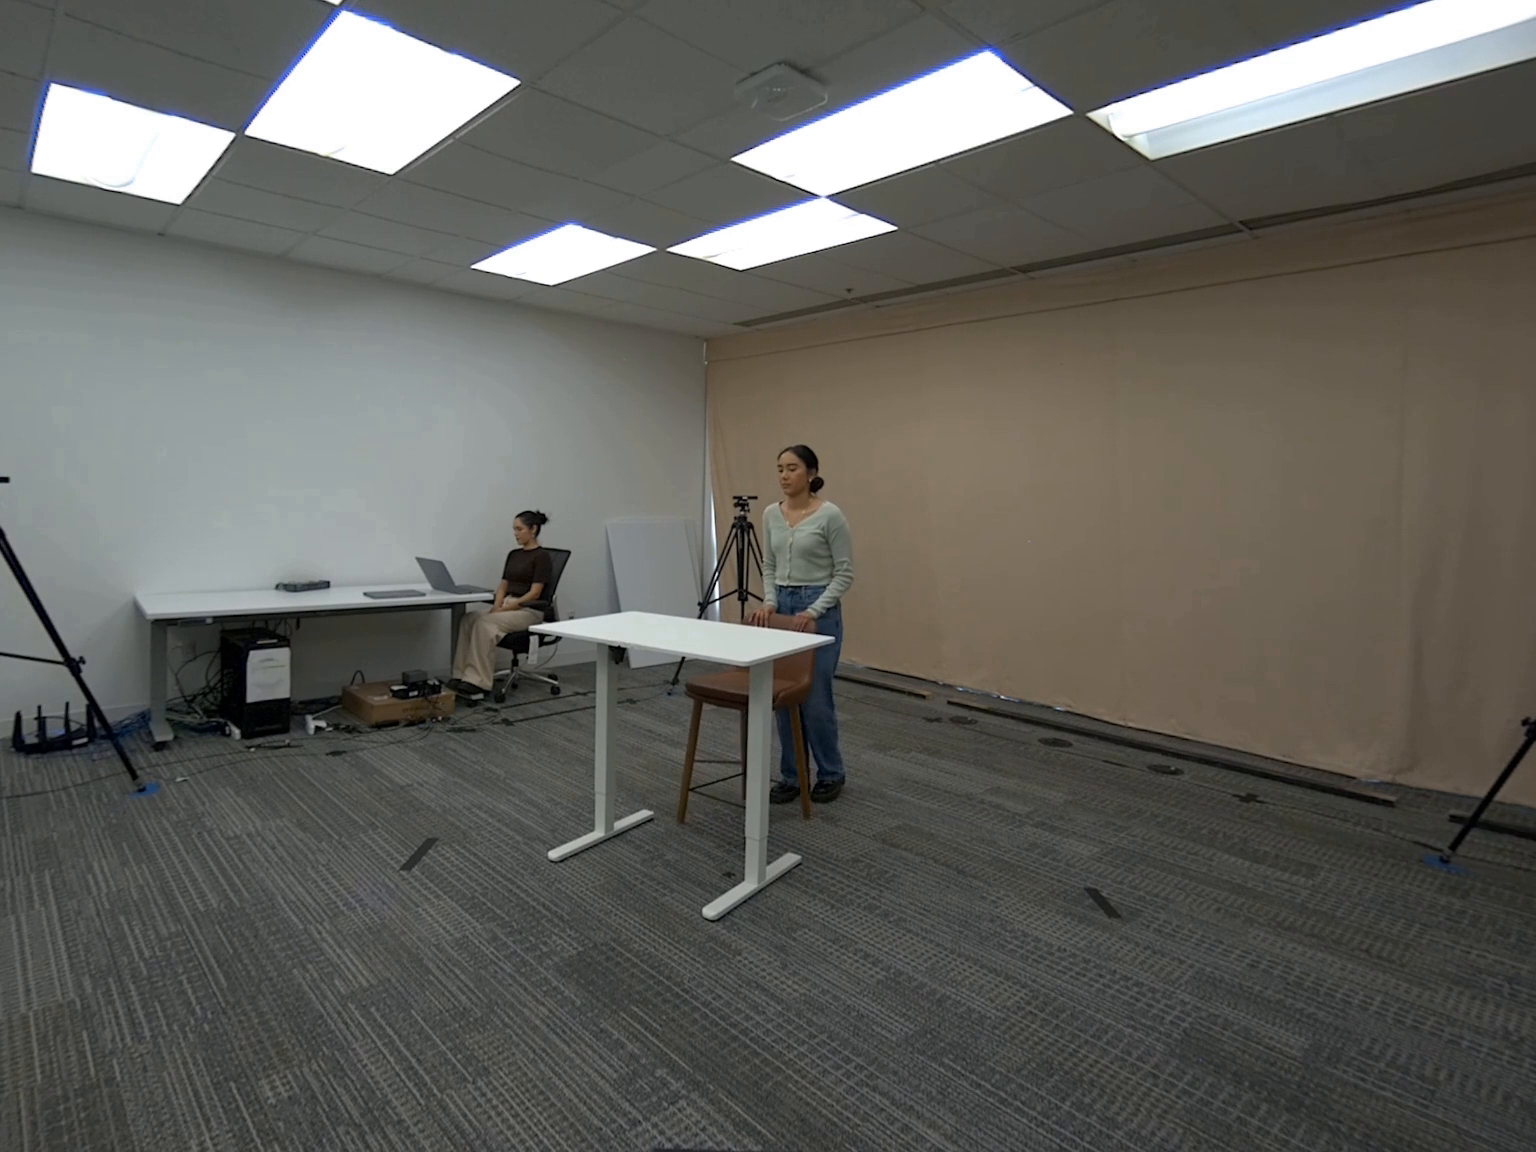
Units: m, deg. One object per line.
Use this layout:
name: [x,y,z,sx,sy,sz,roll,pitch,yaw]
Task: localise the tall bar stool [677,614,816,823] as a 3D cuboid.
tall bar stool: [-0.083,0.617,3.619,0.468,0.889,0.456,3,2,40]
